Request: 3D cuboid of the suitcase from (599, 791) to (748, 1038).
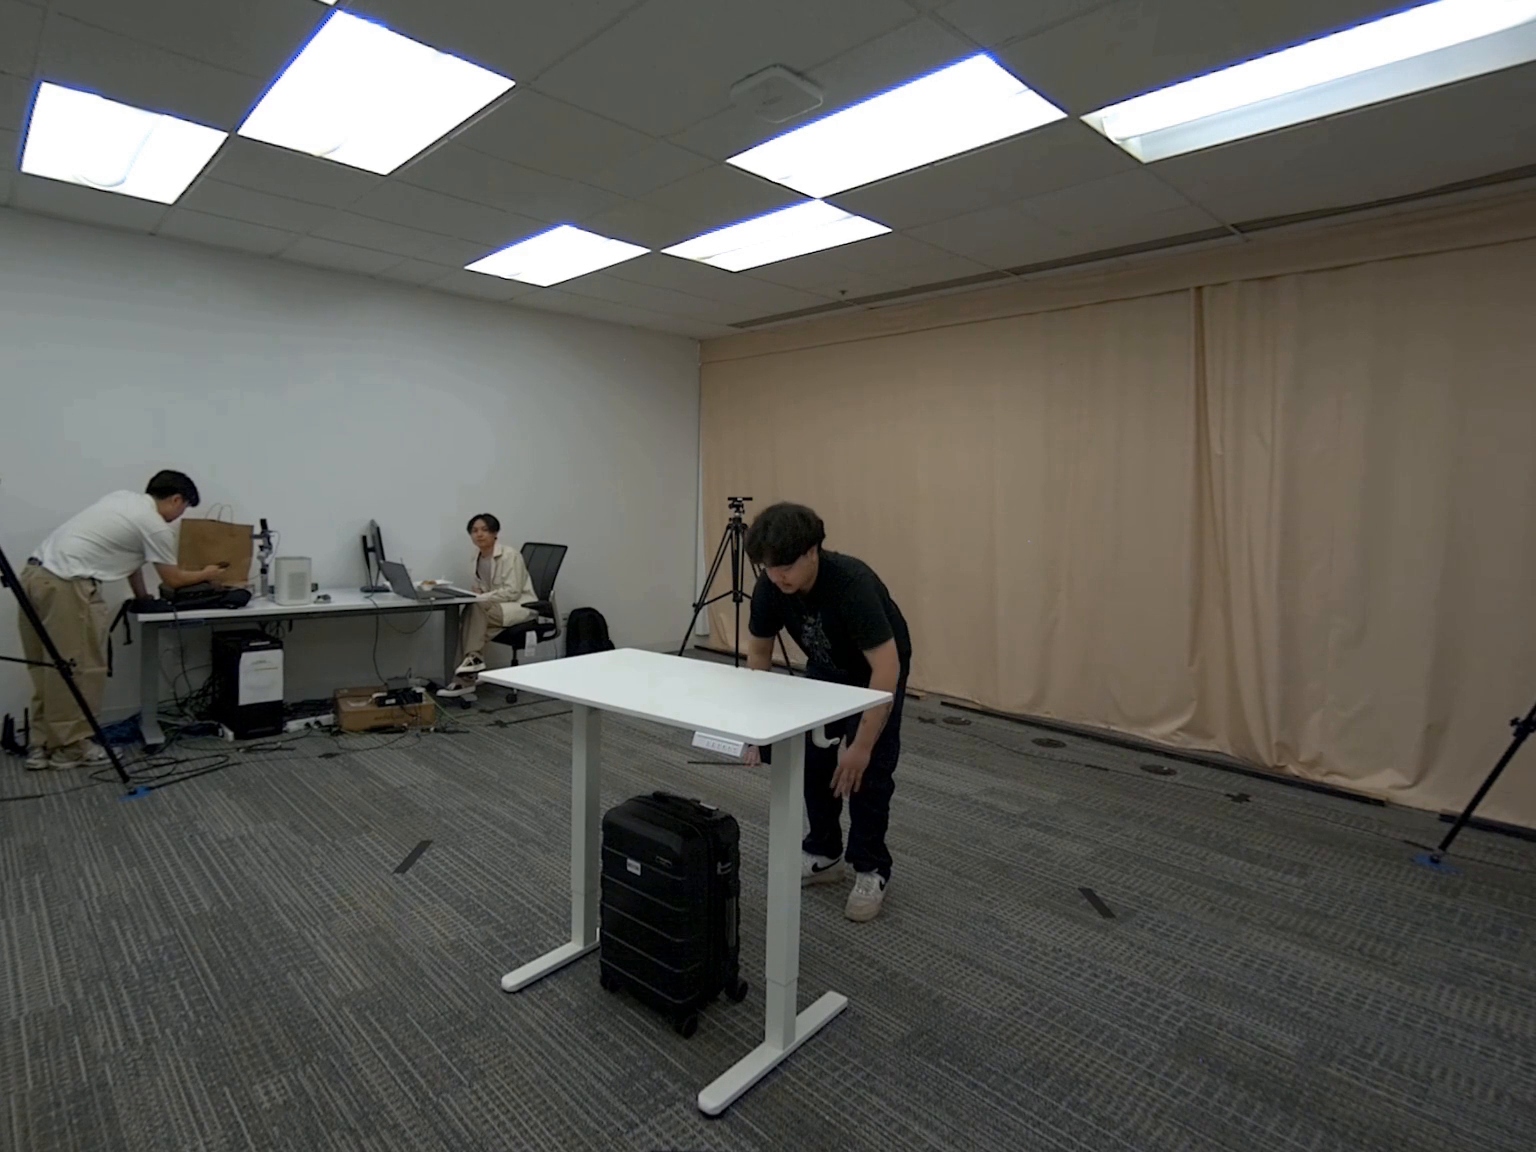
[{"bbox_3d":[-0.279,0.911,2.322,0.384,0.547,0.243,3,6,38],"label":"suitcase"}]
